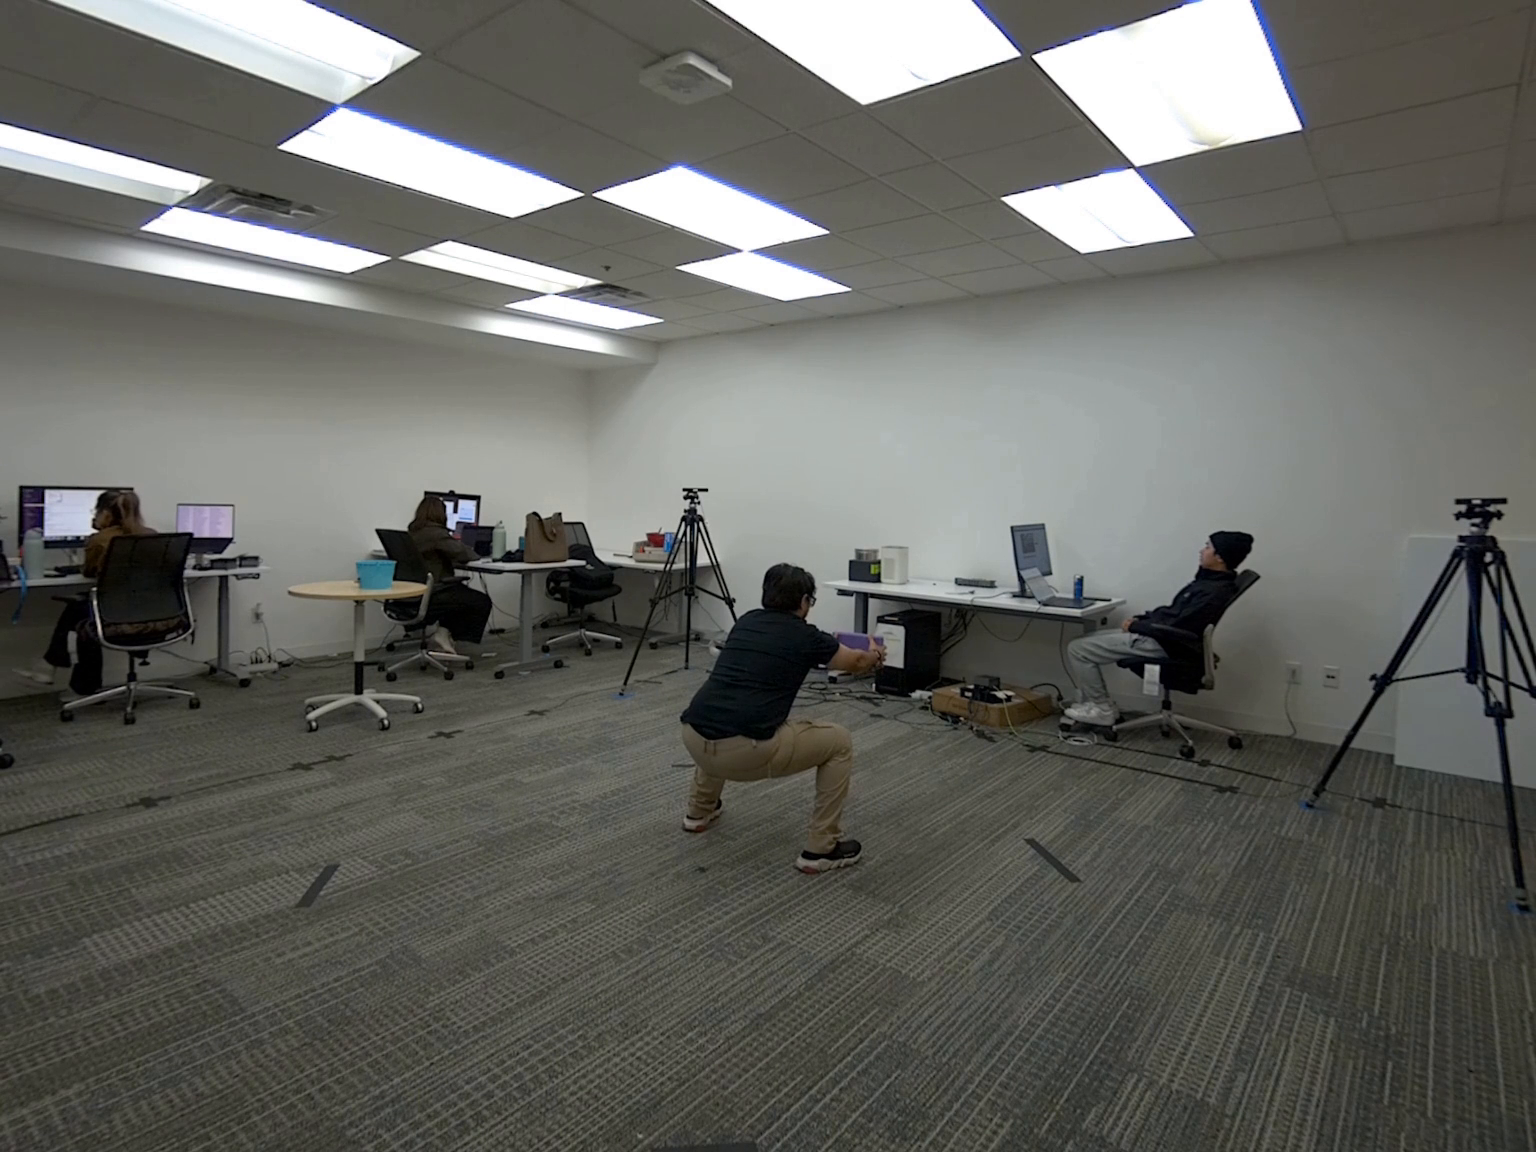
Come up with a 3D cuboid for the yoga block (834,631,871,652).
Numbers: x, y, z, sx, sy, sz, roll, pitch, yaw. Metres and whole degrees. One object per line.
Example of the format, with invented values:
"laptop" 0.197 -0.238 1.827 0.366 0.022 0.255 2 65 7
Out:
"yoga block" 0.393 0.331 3.867 0.236 0.149 0.074 4 -2 32
